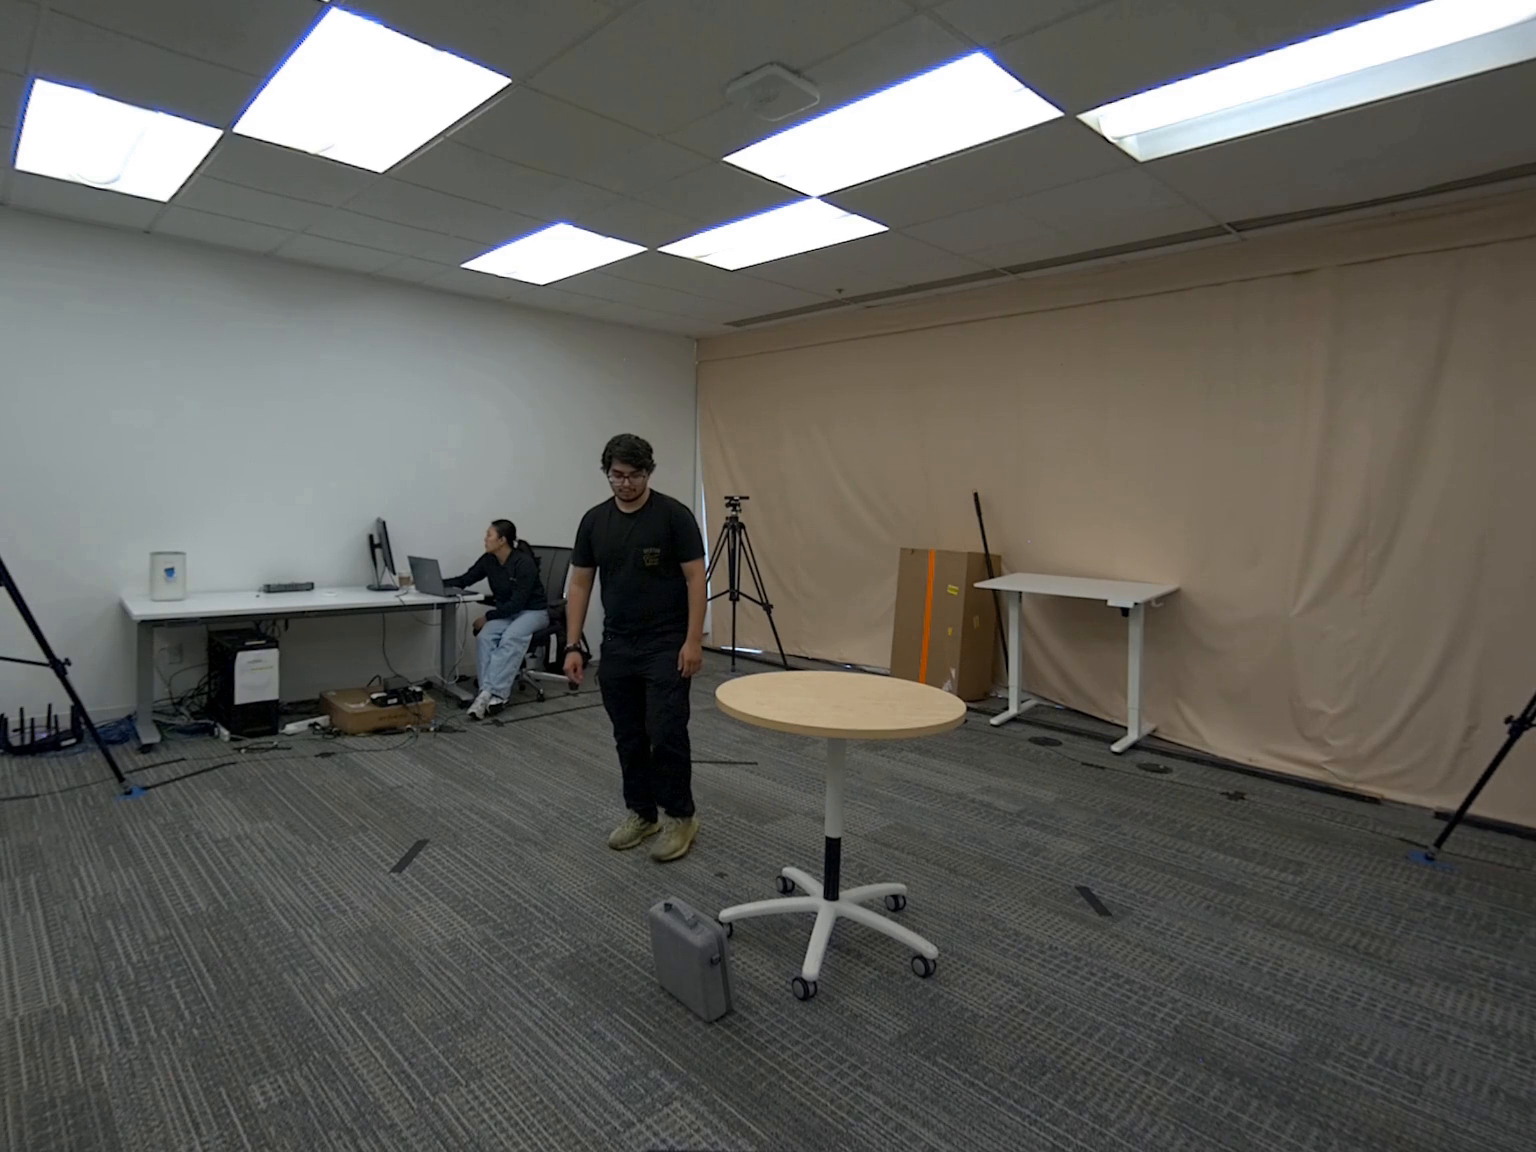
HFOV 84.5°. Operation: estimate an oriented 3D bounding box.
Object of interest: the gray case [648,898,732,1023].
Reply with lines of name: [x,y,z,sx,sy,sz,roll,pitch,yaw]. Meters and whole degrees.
gray case: [-0.217,1.043,2.307,0.102,0.258,0.264,-14,15,-39]
